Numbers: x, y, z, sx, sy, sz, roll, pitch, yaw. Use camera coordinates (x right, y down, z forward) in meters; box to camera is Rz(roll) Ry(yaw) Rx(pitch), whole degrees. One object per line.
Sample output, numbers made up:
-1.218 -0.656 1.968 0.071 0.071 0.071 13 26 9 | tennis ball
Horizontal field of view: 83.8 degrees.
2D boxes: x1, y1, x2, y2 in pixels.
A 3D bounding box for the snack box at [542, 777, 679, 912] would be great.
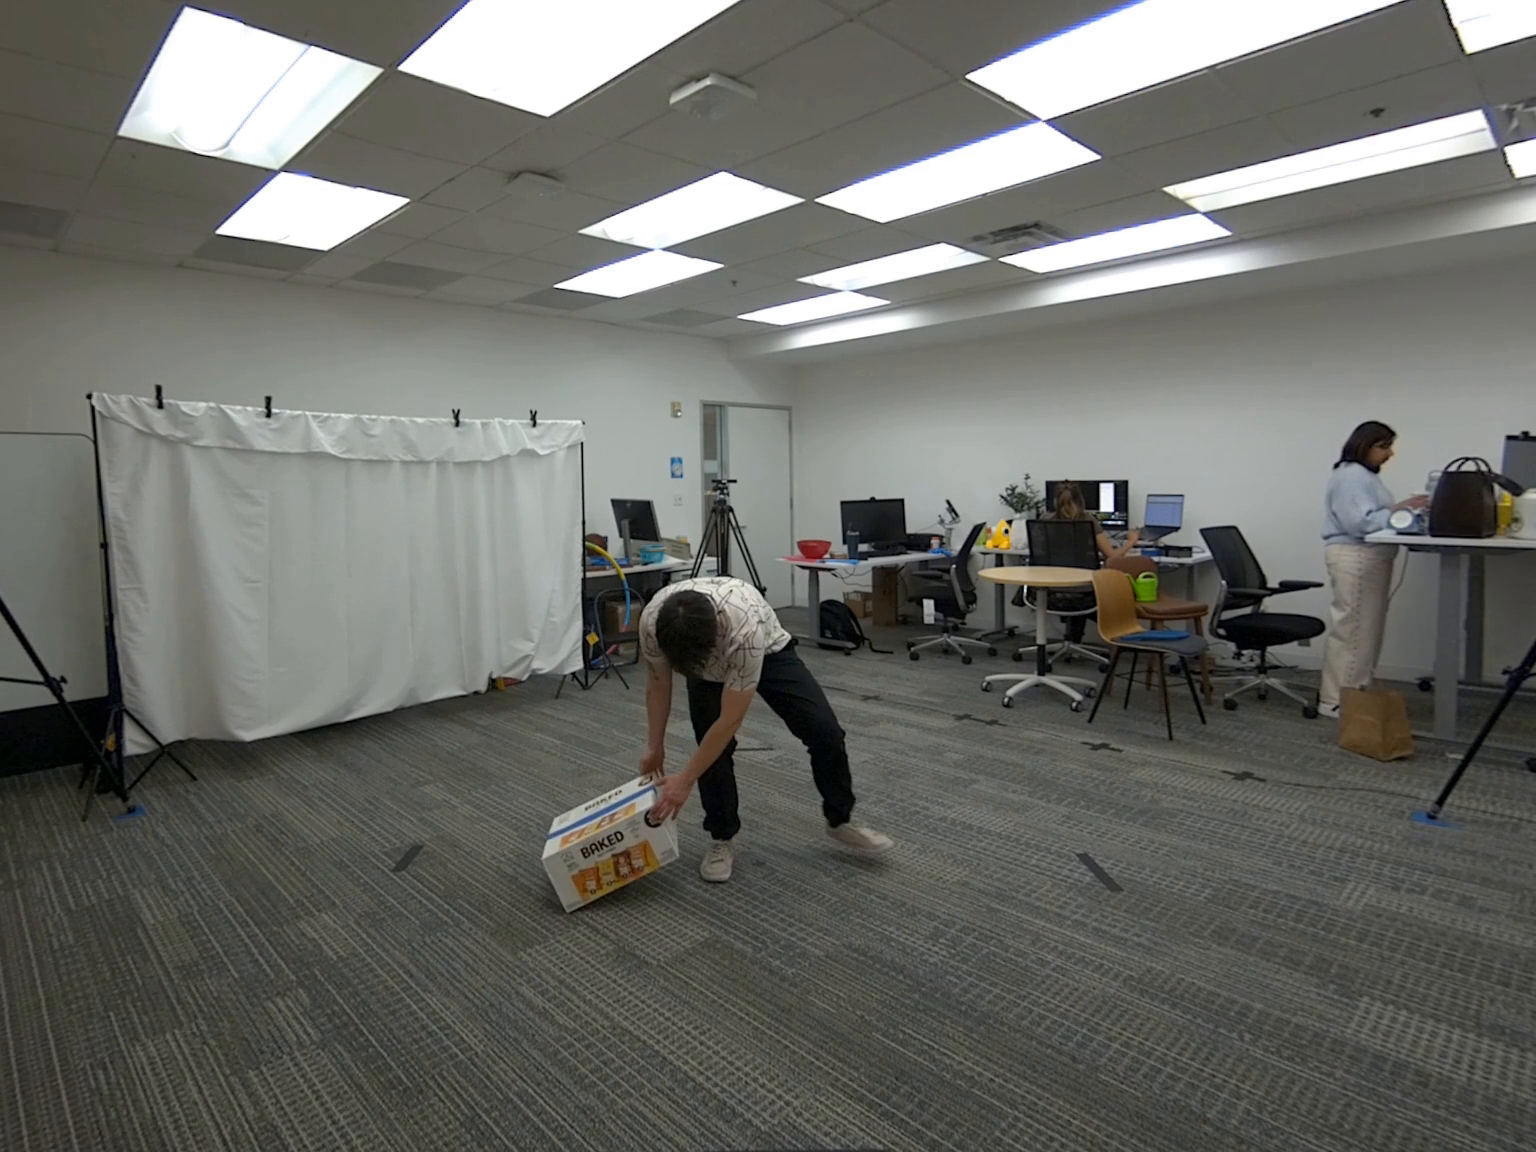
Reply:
-0.529 0.903 2.943 0.404 0.204 0.344 -25 8 -4 | snack box
